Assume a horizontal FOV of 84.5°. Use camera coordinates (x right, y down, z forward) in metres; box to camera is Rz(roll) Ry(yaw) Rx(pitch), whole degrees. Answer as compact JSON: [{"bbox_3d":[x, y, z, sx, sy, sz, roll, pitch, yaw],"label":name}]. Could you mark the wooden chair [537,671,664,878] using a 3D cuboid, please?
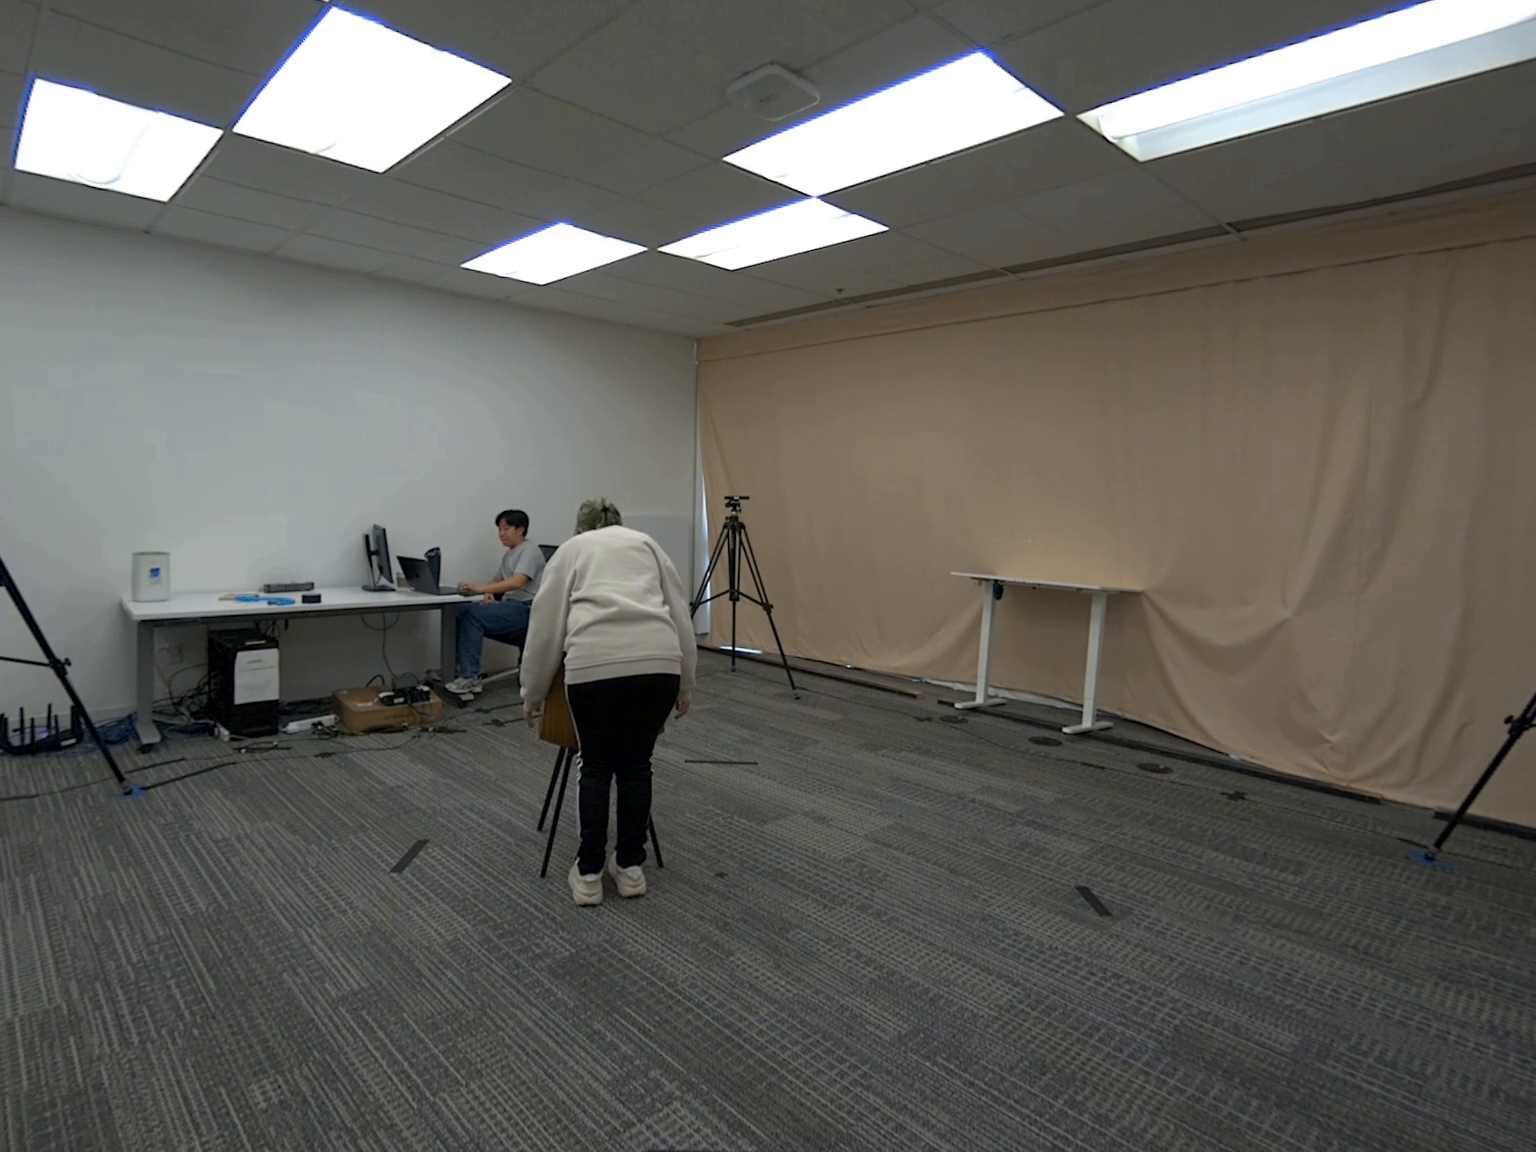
[{"bbox_3d":[-0.668,0.651,3.297,0.472,0.872,0.532,0,8,-16],"label":"wooden chair"}]
